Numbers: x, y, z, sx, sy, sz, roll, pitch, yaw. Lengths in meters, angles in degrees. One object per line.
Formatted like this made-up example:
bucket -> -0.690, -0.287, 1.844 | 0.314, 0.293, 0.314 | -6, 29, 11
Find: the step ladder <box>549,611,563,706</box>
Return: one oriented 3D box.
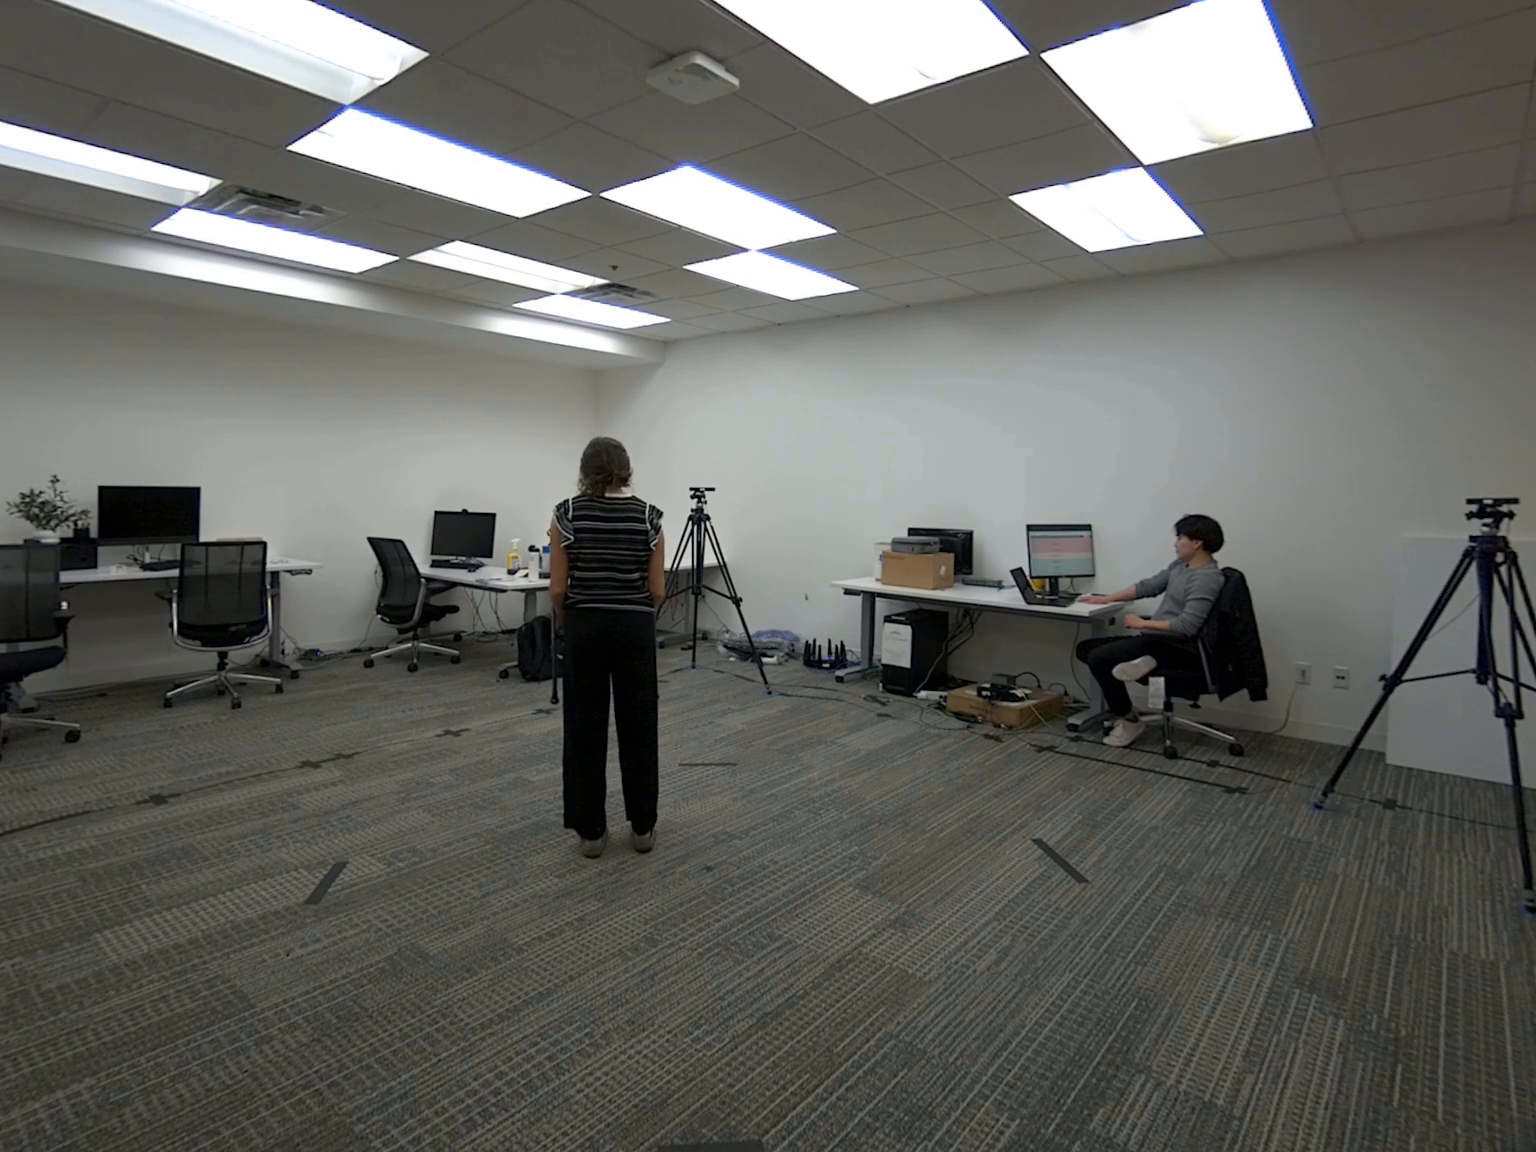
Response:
step ladder -> -0.662, 0.148, 3.428 | 0.424, 0.596, 0.360 | 0, 20, -16
